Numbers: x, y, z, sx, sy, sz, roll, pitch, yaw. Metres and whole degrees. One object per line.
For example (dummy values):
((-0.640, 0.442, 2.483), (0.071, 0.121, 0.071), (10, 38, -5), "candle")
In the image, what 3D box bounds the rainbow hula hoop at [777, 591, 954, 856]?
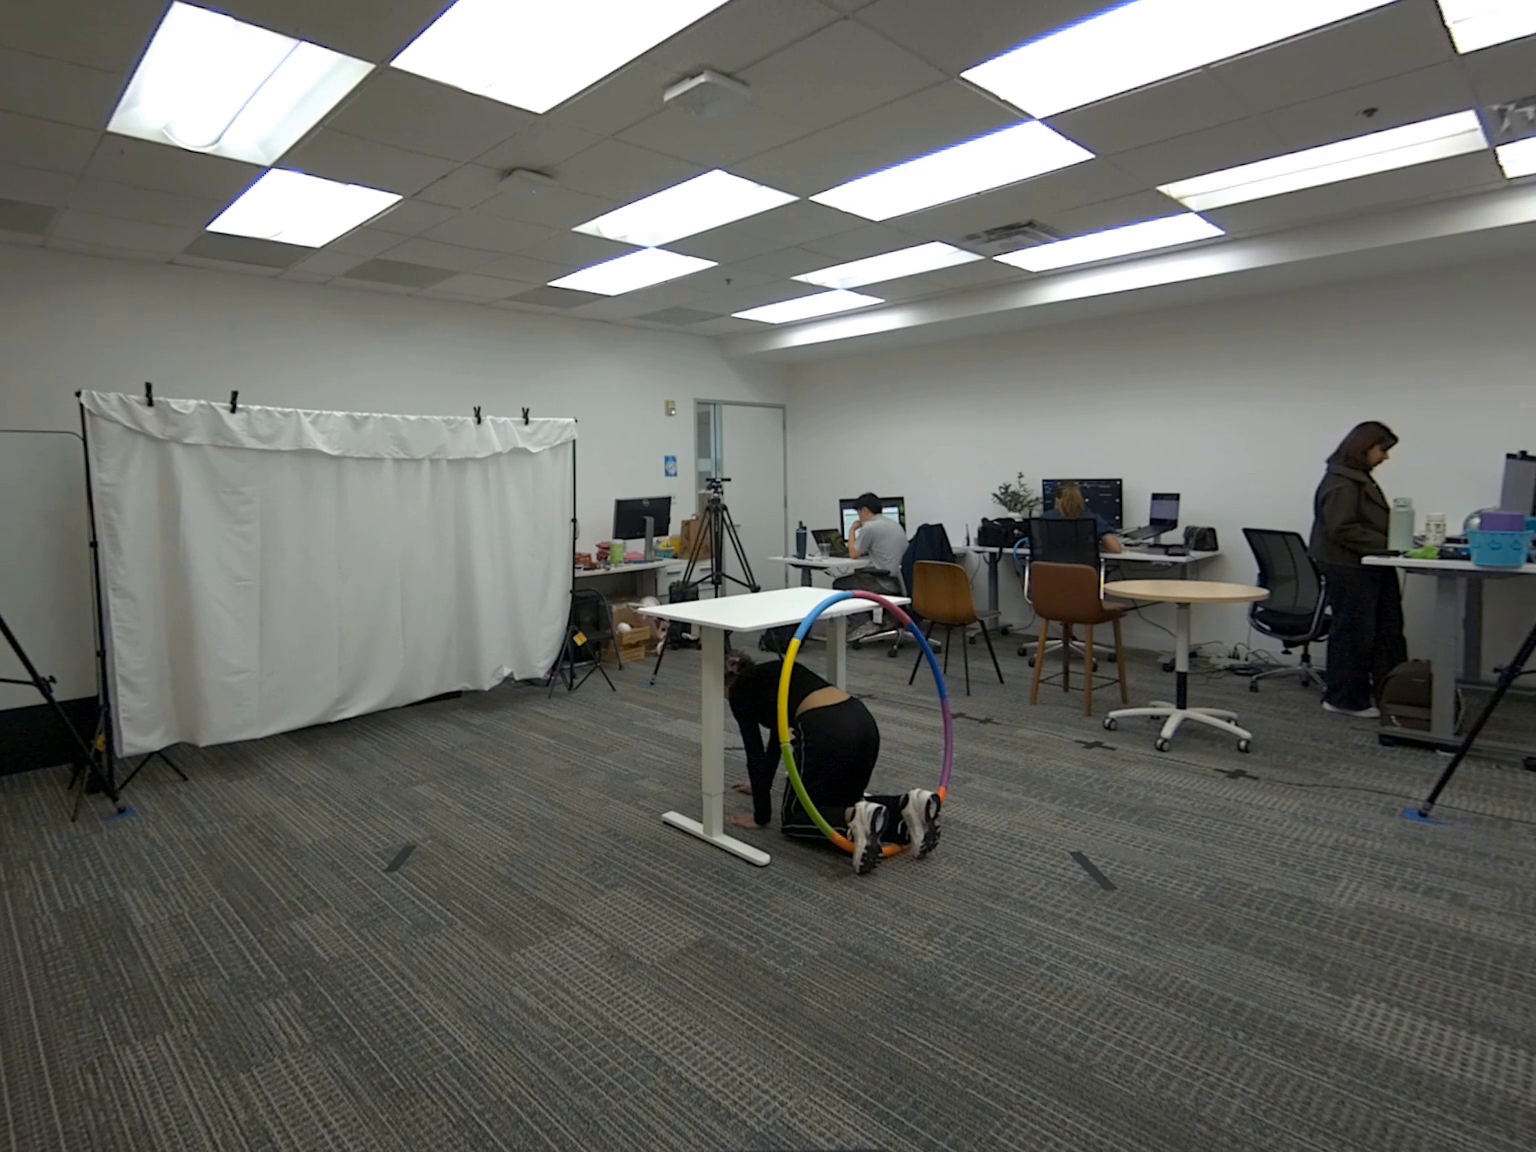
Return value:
((0.402, 0.549, 3.246), (0.953, 0.987, 0.036), (-6, -10, -44), "rainbow hula hoop")
